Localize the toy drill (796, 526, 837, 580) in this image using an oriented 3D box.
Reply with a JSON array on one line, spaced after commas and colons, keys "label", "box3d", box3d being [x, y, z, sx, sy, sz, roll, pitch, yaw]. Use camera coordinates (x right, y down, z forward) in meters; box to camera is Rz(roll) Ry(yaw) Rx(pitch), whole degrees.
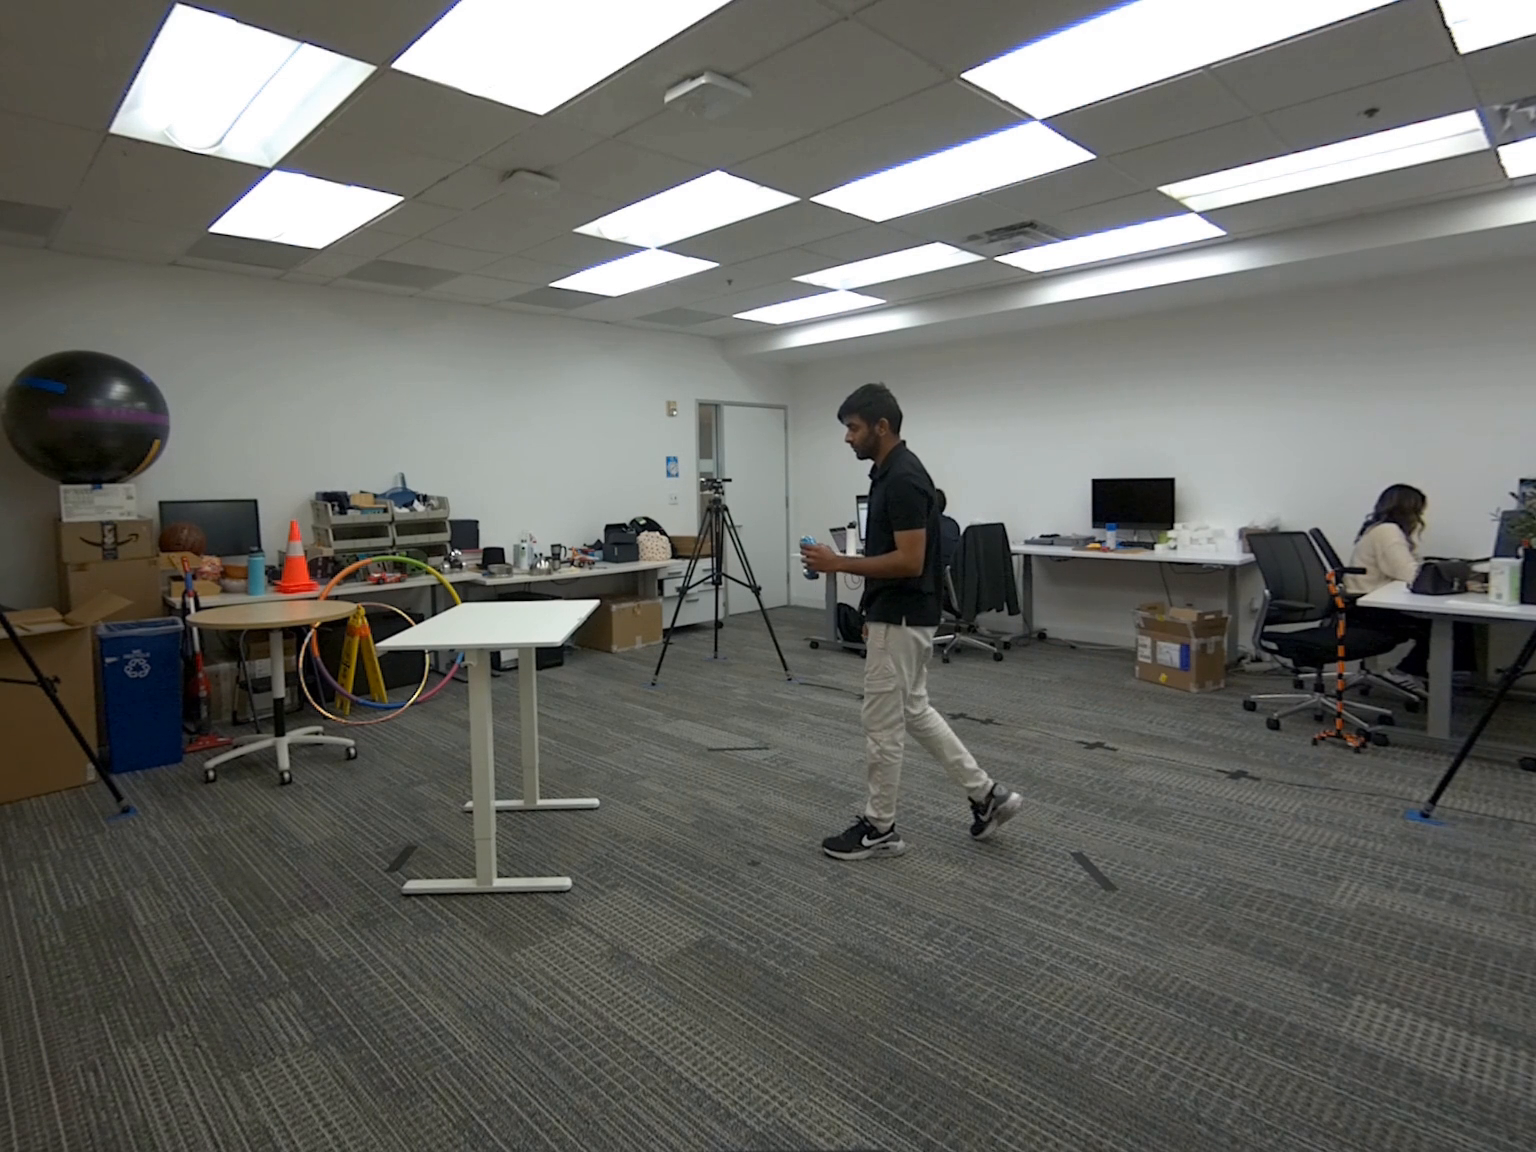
[{"label": "toy drill", "box3d": [0.180, -0.087, 3.077, 0.061, 0.143, 0.174, -25, 18, -7]}]
